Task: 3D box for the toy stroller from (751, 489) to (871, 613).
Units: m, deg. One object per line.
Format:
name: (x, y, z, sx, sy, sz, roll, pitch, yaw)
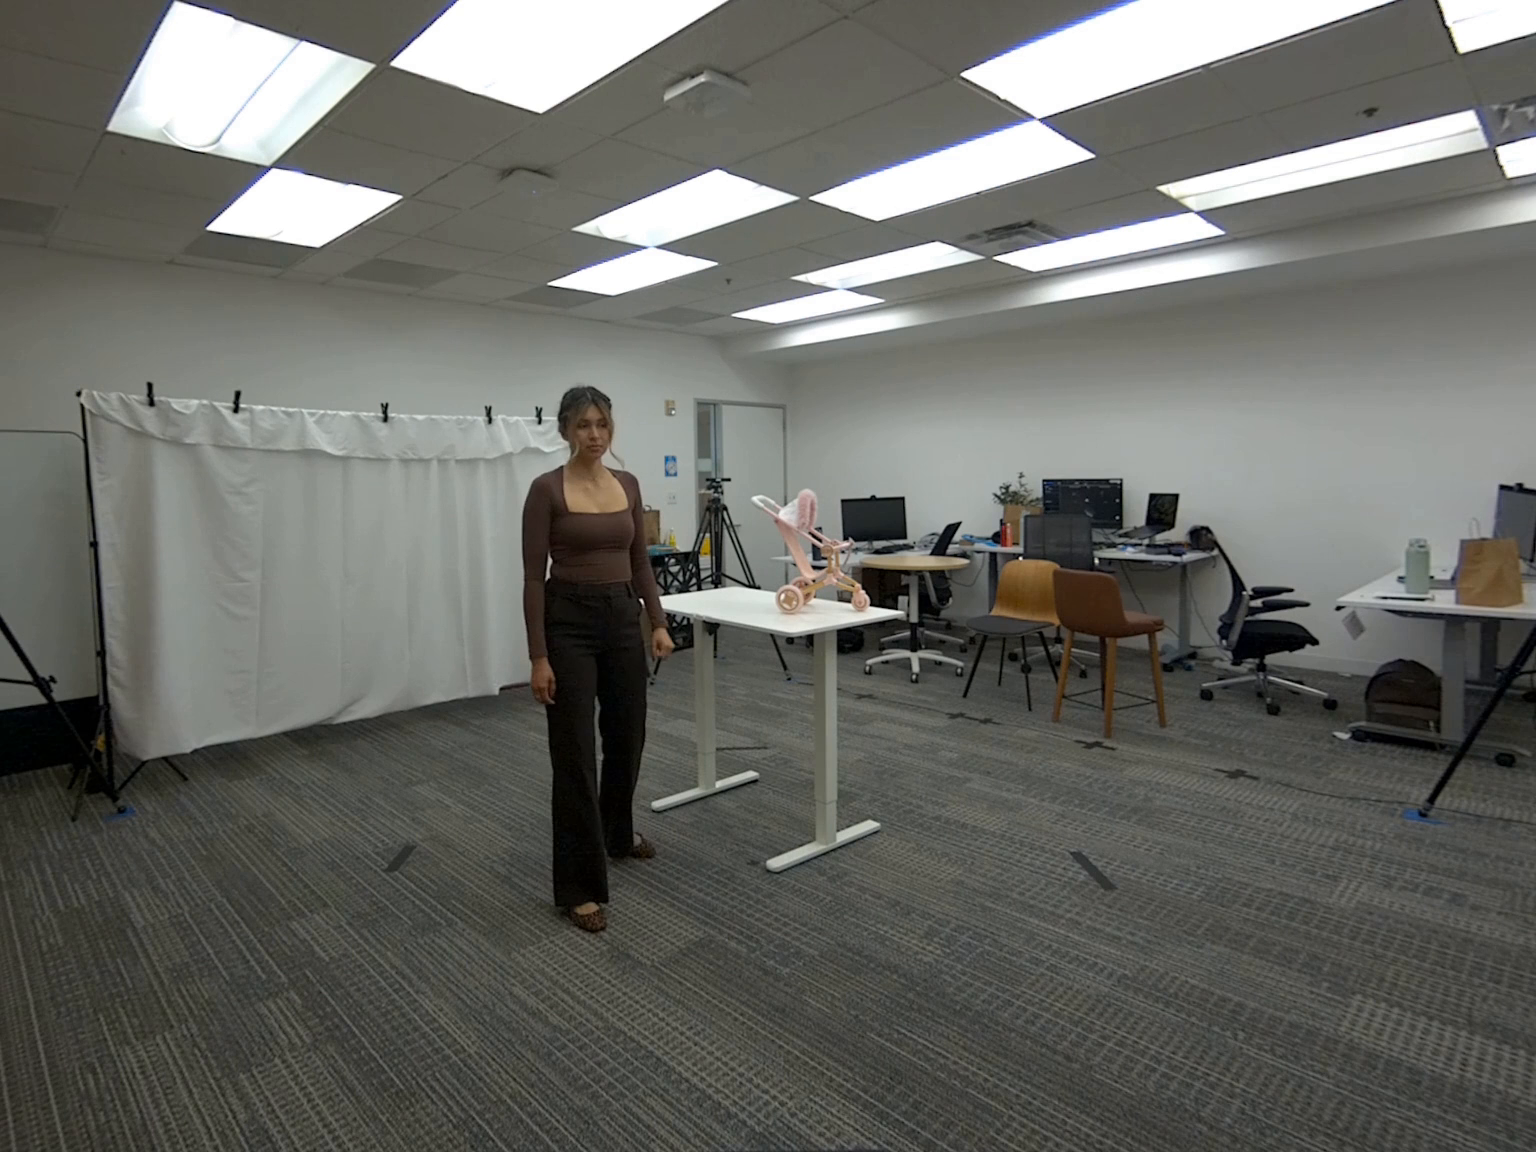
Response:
toy stroller: (0.176, -0.092, 3.314, 0.346, 0.535, 0.277, -15, 0, 21)
